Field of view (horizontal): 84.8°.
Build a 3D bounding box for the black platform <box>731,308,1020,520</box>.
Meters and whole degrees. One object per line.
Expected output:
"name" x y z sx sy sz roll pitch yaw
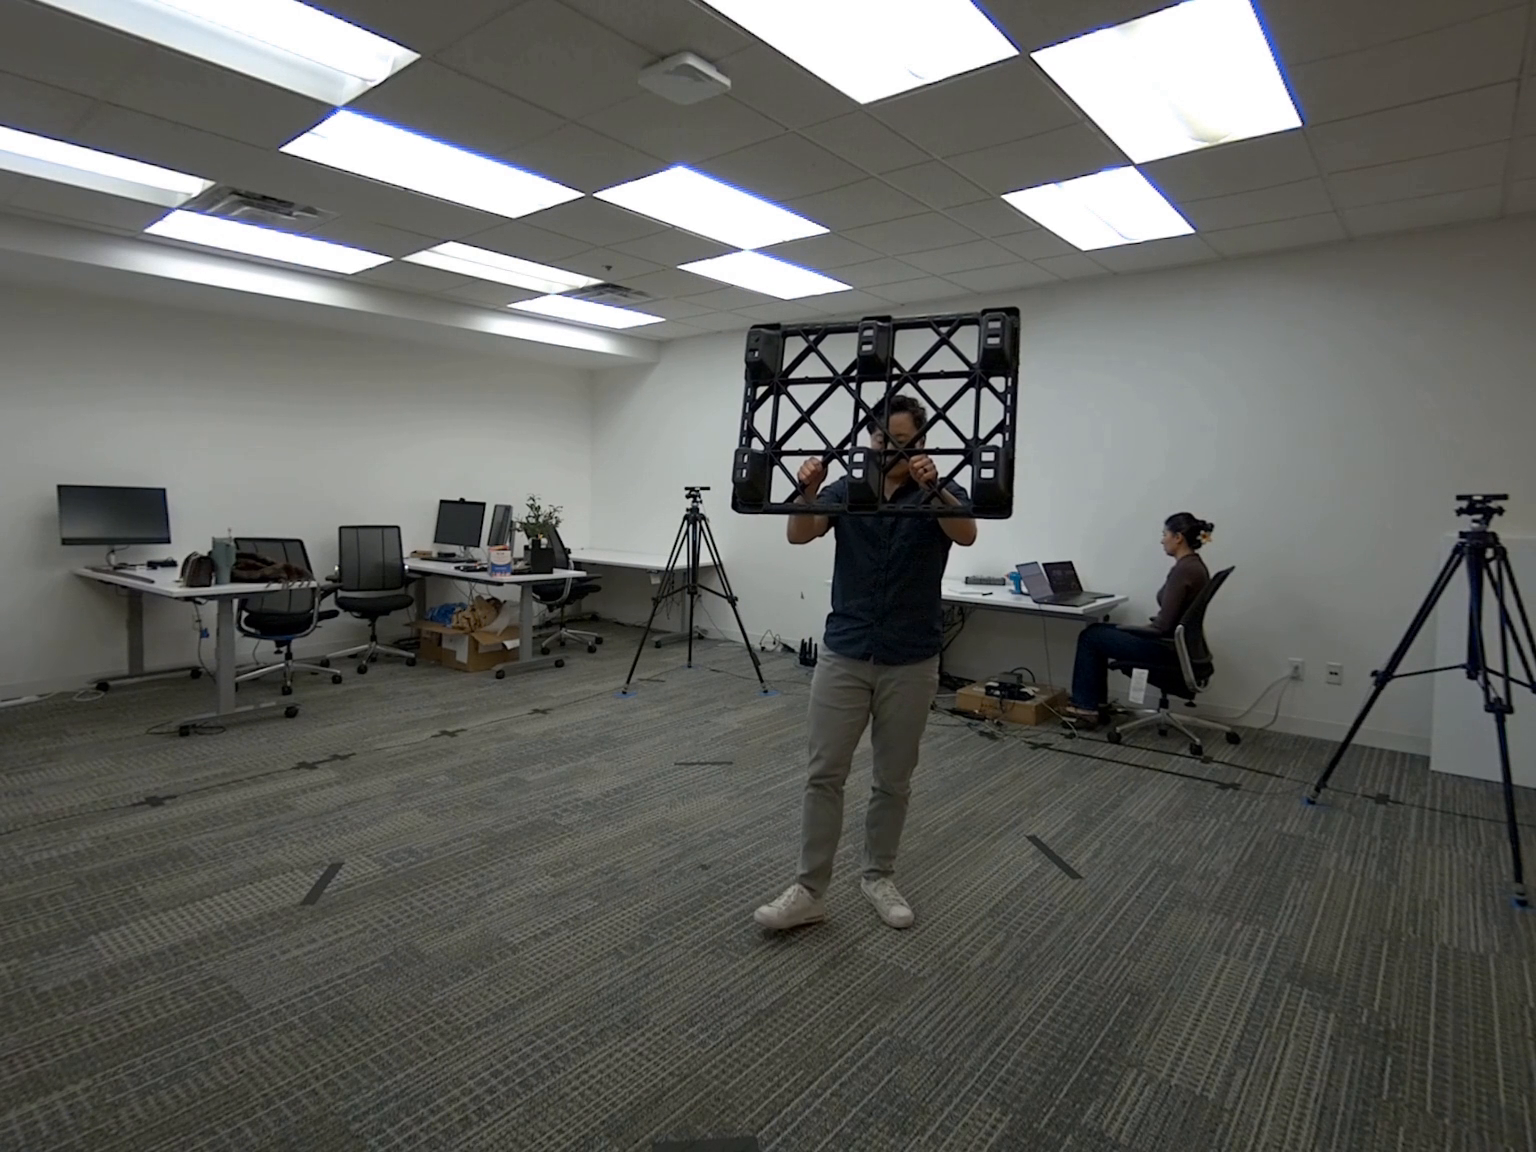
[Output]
"black platform" 0.280 -0.479 2.421 0.823 0.610 0.139 2 -10 21
